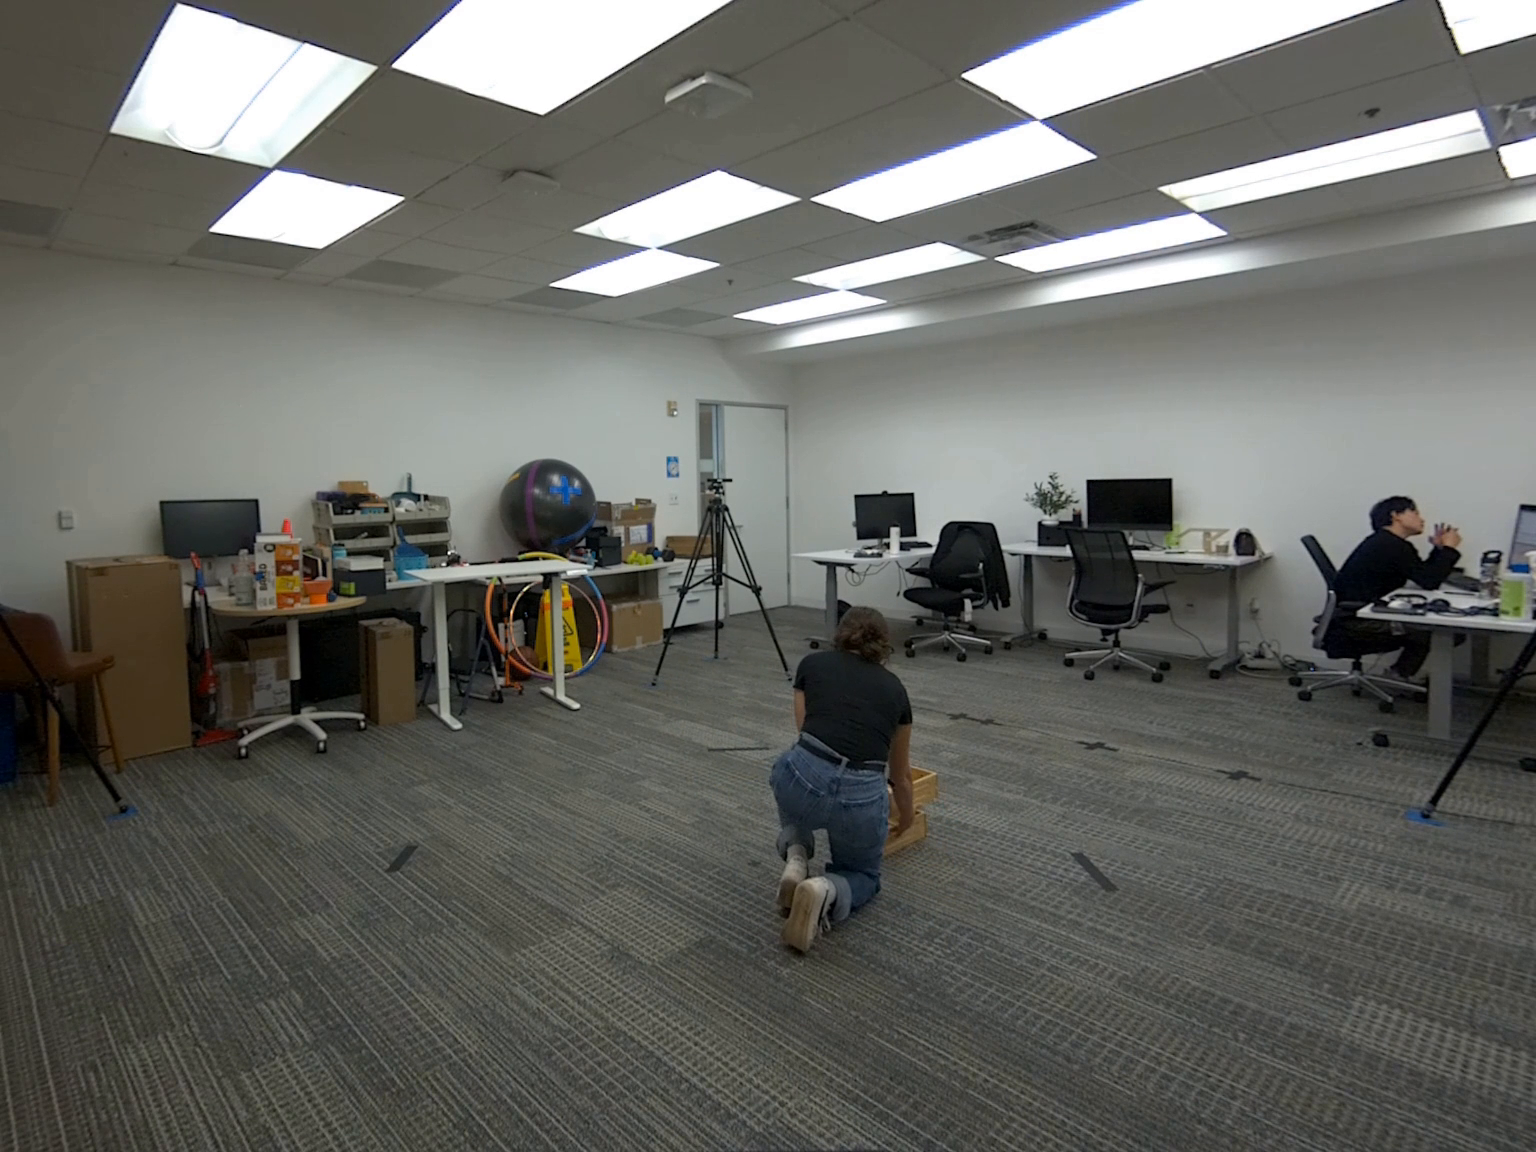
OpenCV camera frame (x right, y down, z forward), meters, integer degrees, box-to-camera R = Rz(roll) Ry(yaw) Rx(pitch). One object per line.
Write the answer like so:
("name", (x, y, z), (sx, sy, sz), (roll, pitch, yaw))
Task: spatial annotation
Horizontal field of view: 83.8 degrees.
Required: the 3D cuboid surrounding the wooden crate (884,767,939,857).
("wooden crate", (0.444, 0.885, 3.286), (0.316, 0.272, 0.311), (-7, 8, -44))
